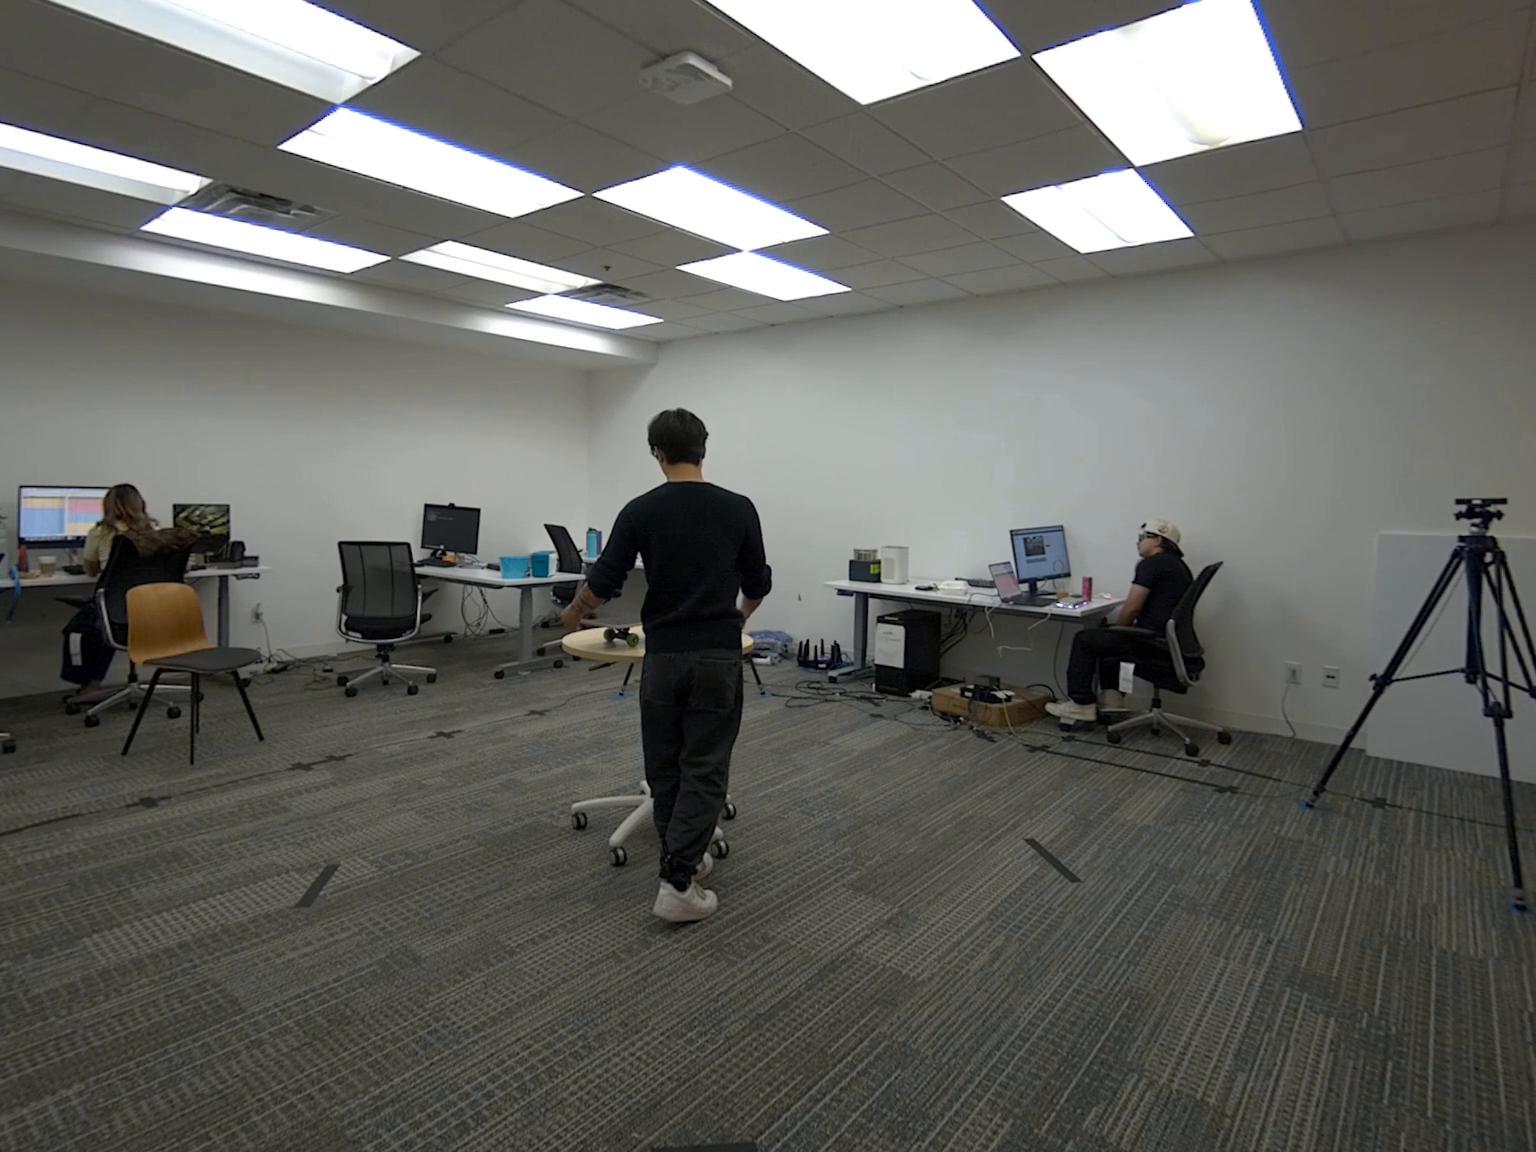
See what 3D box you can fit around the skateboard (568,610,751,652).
[{"bbox_3d":[-0.425,0.199,3.433,0.762,0.110,0.200,-4,6,-43],"label":"skateboard"}]
